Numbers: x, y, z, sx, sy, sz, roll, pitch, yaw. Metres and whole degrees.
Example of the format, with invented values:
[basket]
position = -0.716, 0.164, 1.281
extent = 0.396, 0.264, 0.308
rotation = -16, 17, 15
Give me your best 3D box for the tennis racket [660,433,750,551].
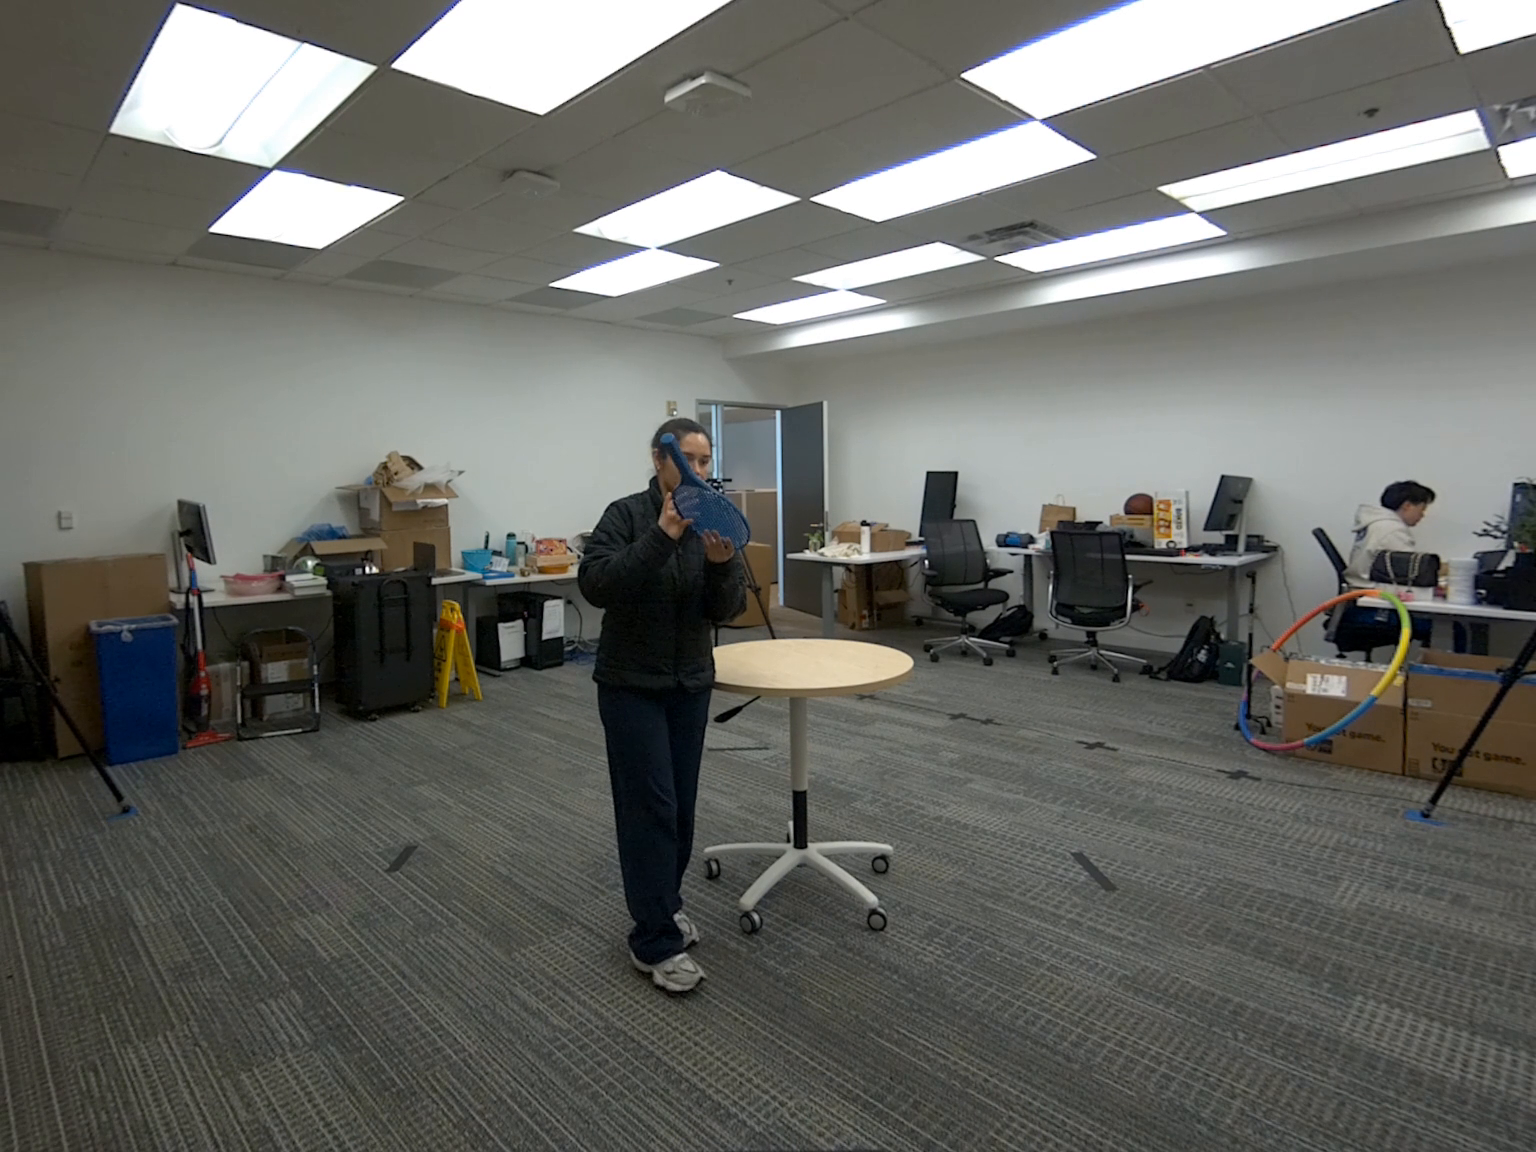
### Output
[tennis racket]
position = -0.167, -0.197, 2.149
extent = 0.219, 0.032, 0.418
rotation = 14, -31, 24
